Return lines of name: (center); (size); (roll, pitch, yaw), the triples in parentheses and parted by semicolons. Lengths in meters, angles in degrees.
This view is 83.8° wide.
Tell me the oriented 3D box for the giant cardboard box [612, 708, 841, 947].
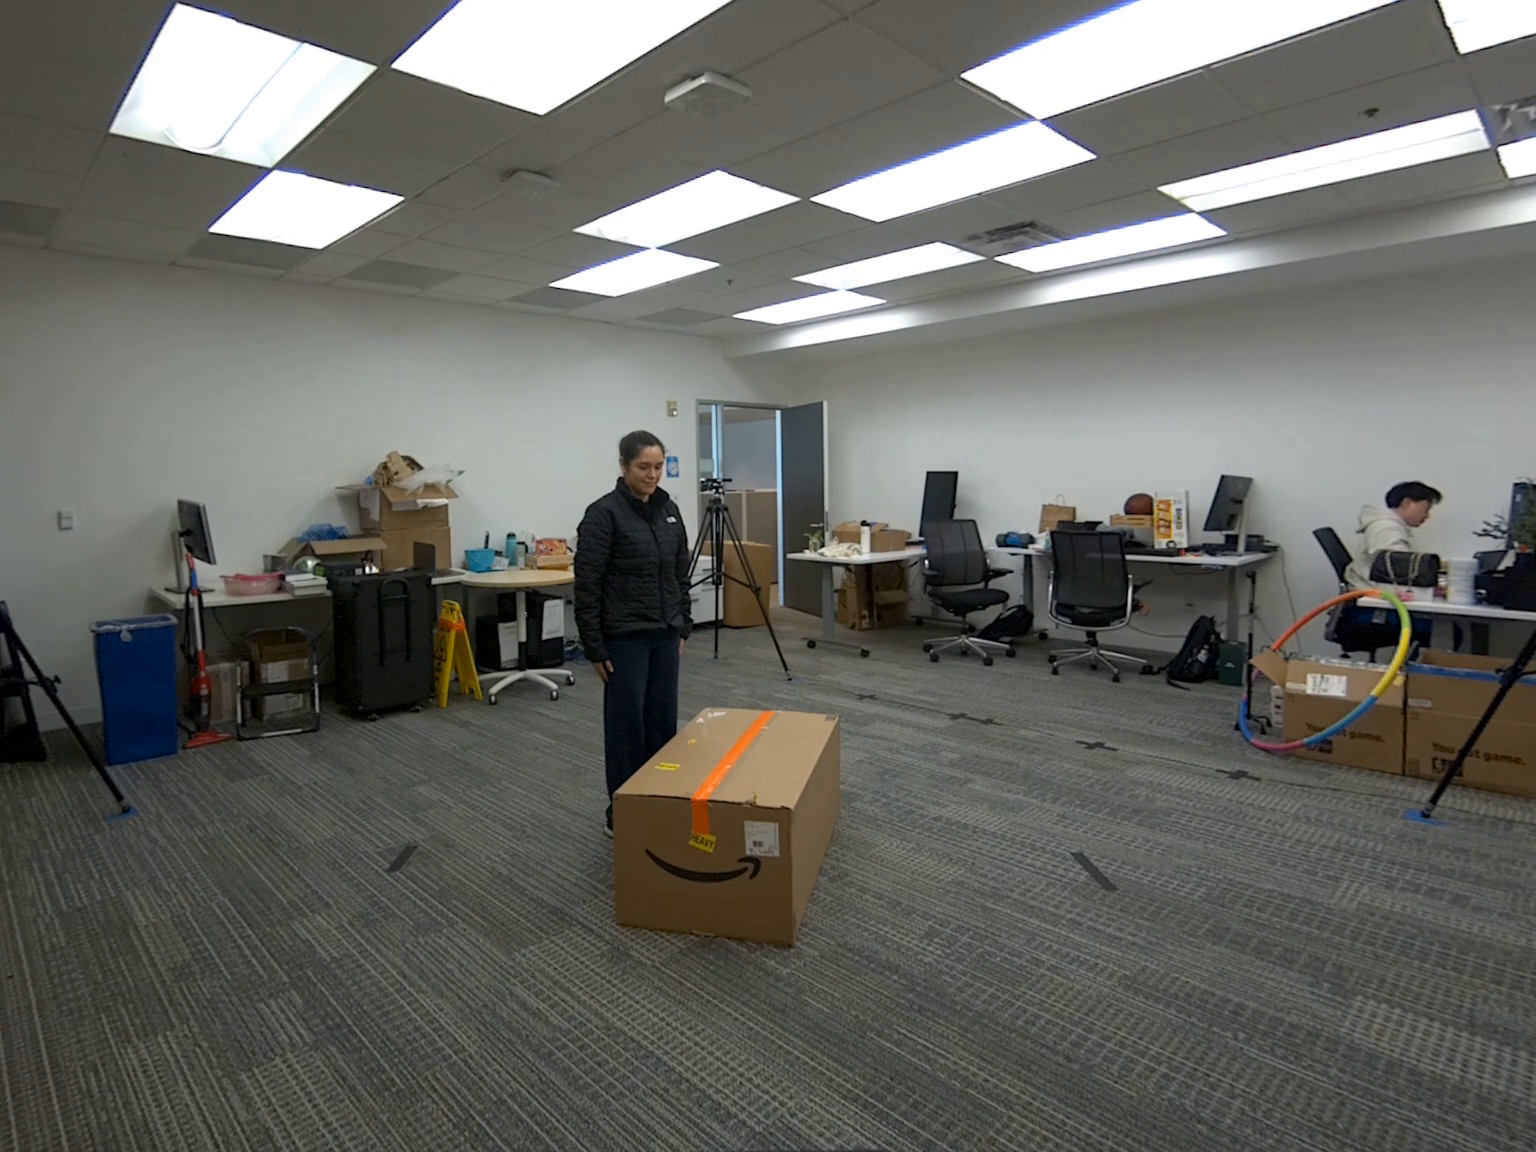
giant cardboard box: (-0.095, 0.827, 3.105); (0.585, 0.424, 1.017); (-1, 6, 13)
